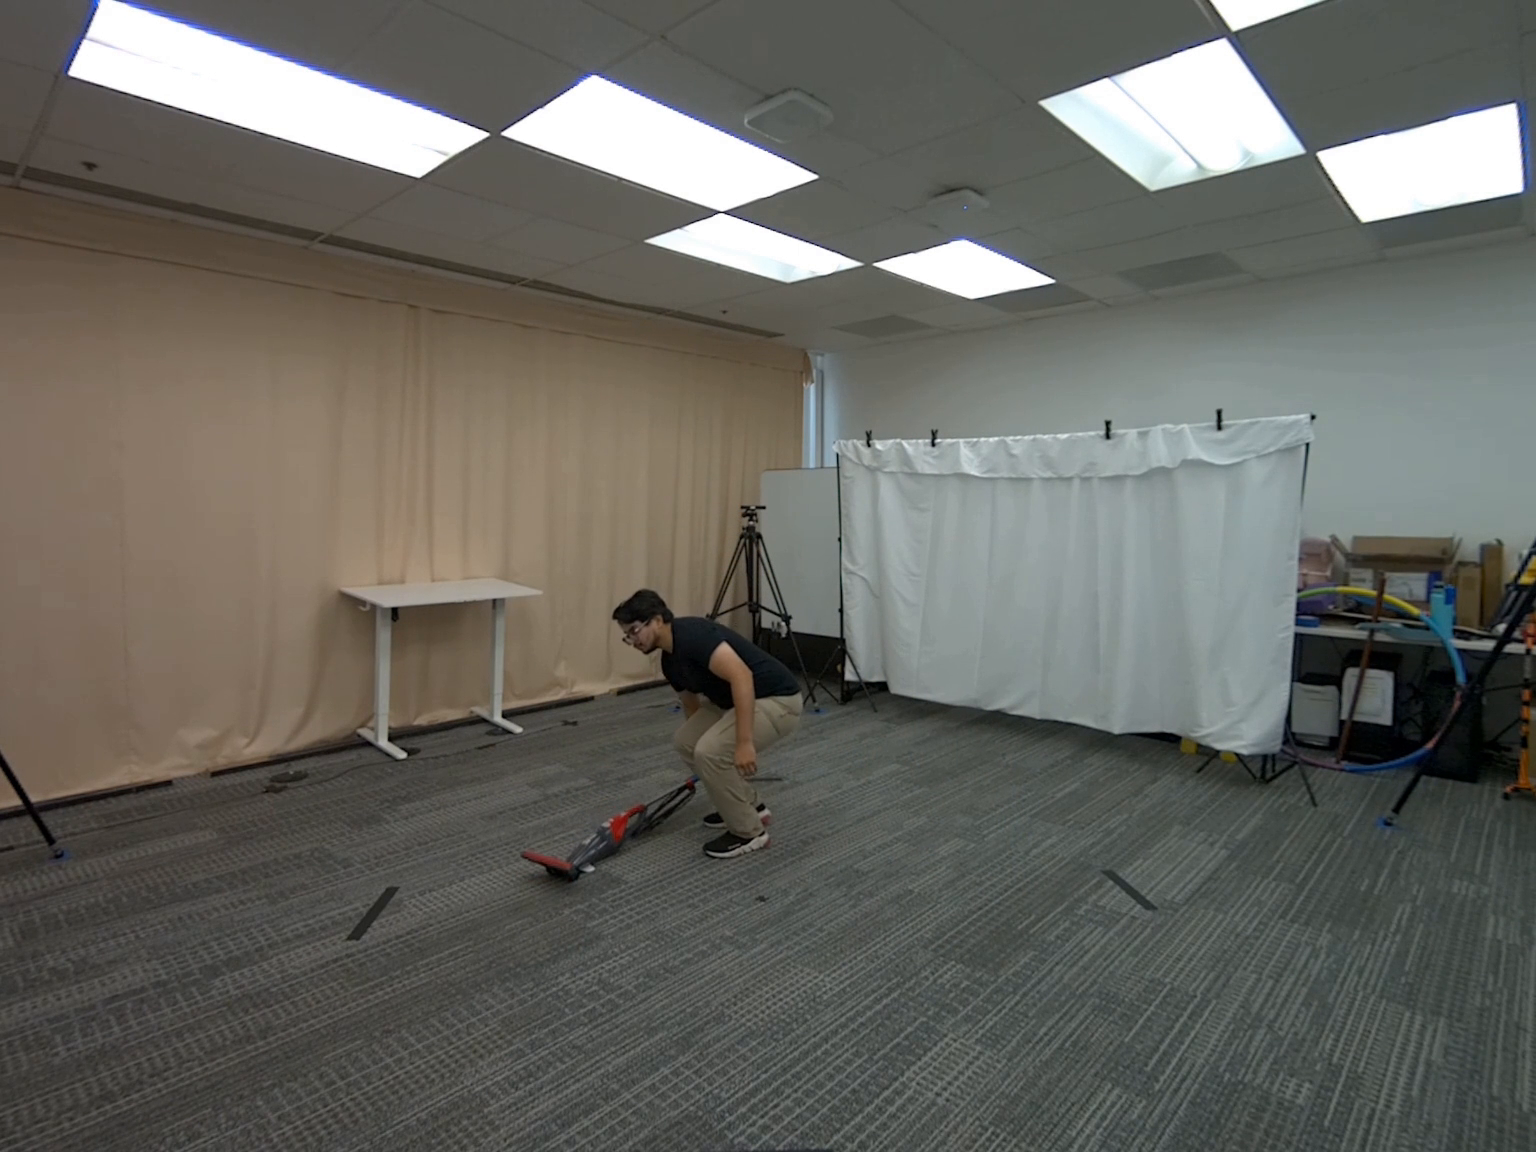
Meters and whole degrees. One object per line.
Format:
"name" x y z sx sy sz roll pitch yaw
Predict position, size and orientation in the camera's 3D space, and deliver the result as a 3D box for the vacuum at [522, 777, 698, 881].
"vacuum" -0.535 1.022 3.551 0.260 0.143 1.022 5 10 32
